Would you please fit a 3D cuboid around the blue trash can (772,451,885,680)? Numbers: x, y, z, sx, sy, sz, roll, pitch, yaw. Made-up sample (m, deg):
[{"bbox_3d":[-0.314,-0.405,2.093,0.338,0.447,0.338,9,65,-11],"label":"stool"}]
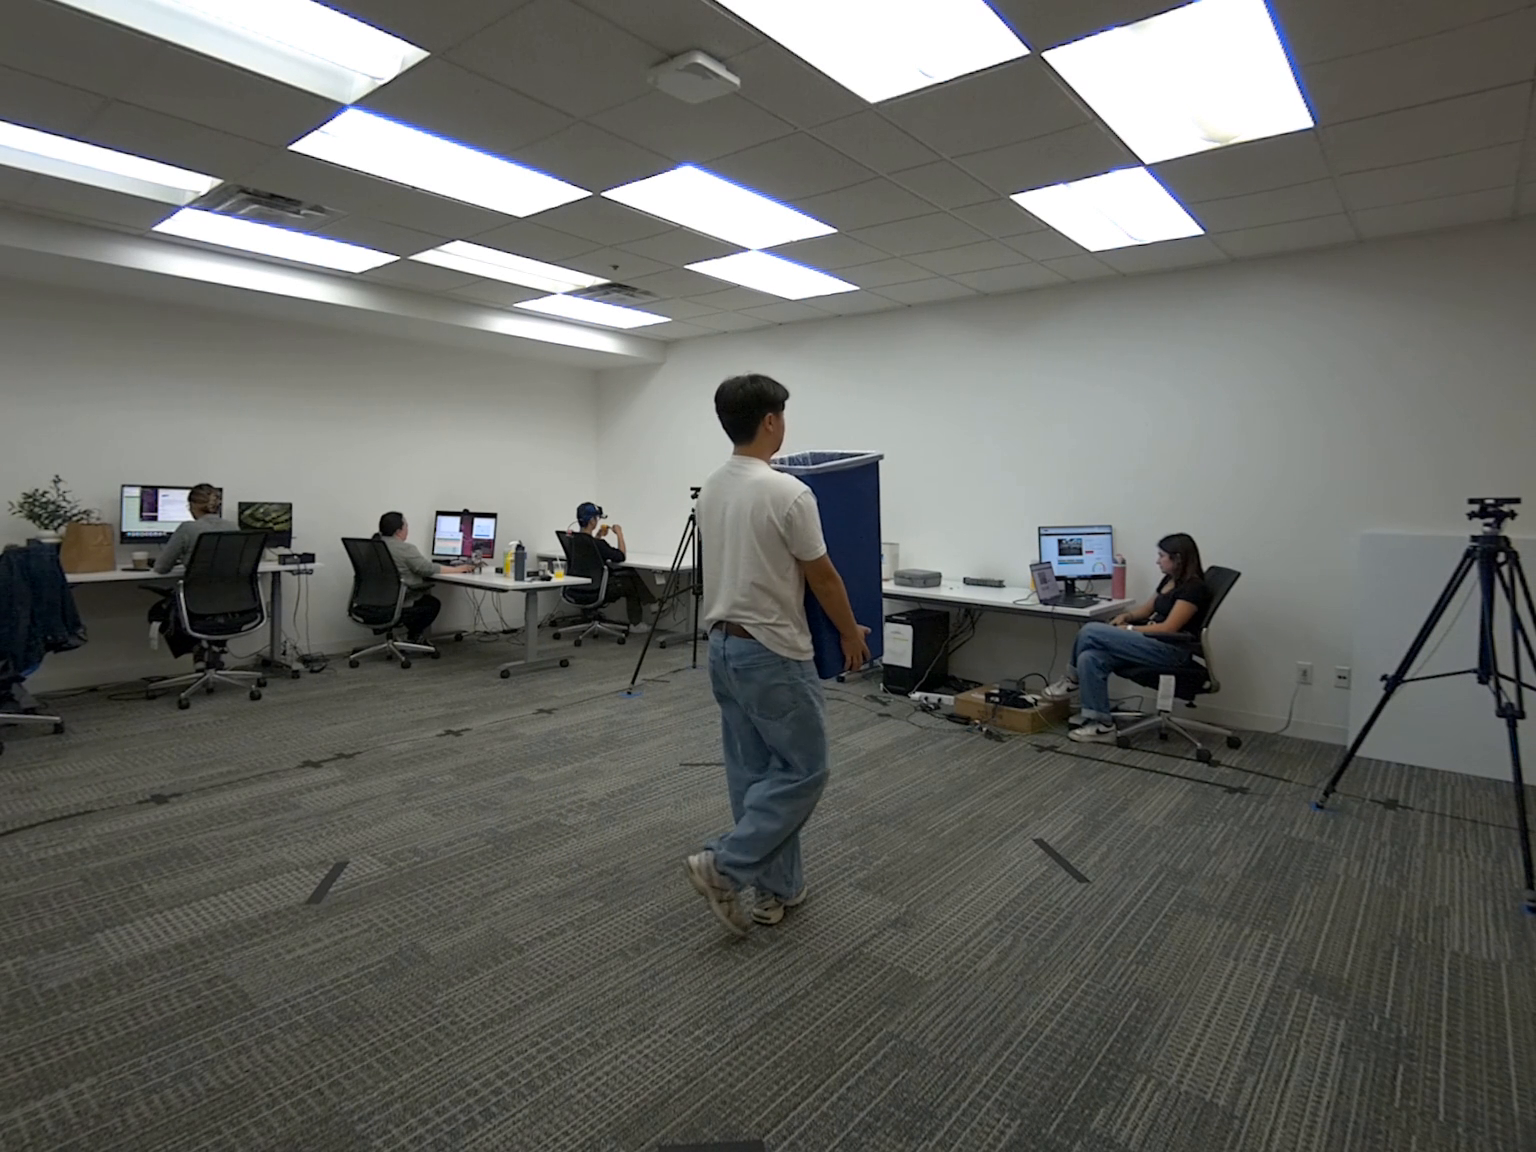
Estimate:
[{"bbox_3d":[0.169,-0.059,2.939,0.369,0.705,0.387,-15,14,-39],"label":"blue trash can"}]
